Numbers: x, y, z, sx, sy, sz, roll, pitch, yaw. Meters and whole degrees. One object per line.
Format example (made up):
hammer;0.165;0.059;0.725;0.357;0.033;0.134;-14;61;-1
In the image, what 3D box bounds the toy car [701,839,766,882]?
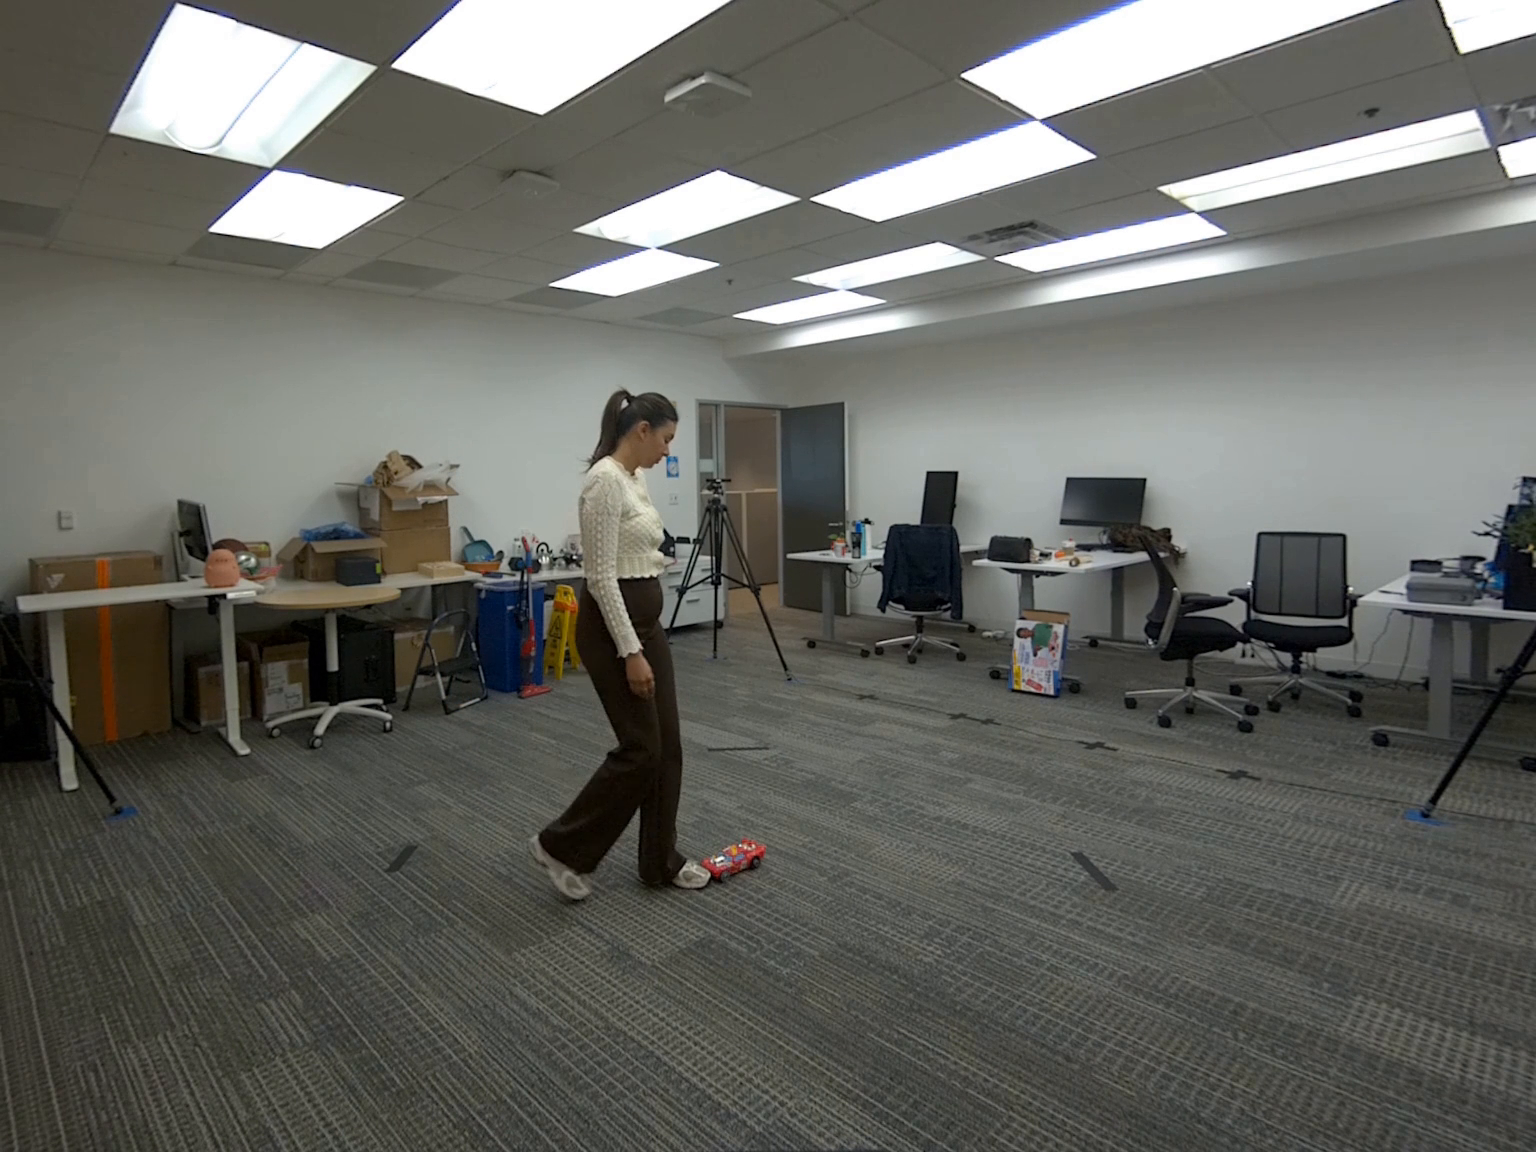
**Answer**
toy car;-0.117;1.017;3.063;0.250;0.082;0.134;-22;19;-39
